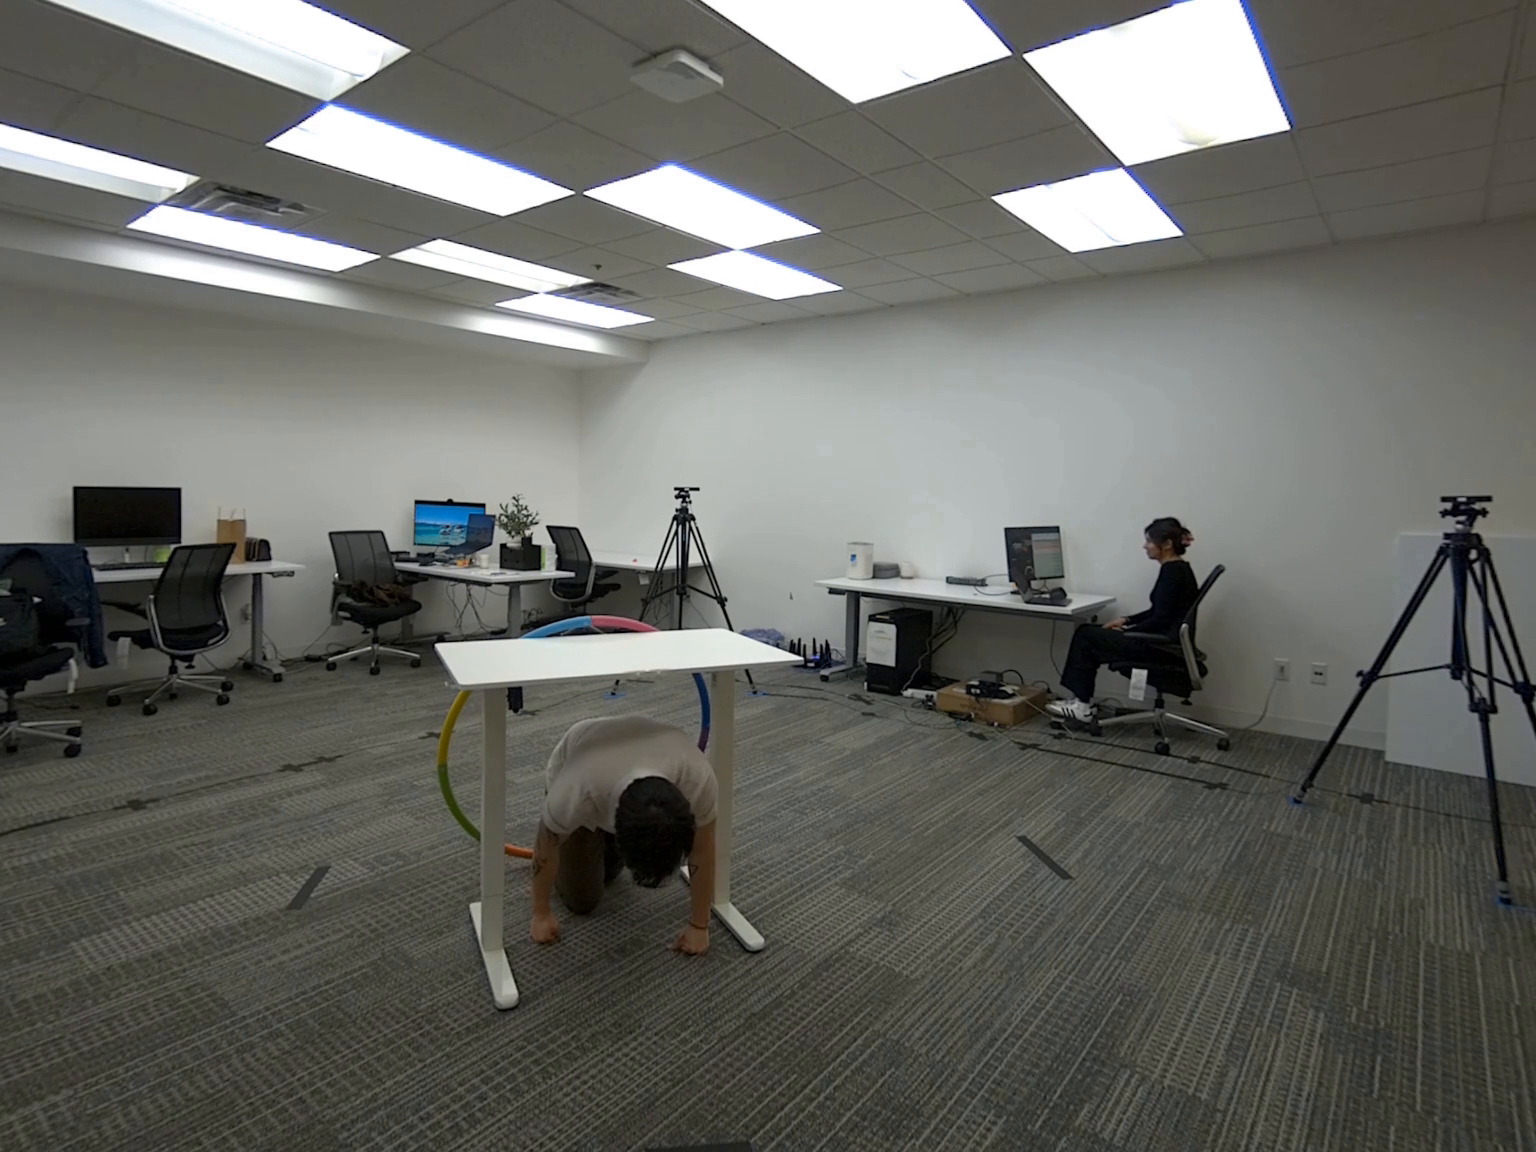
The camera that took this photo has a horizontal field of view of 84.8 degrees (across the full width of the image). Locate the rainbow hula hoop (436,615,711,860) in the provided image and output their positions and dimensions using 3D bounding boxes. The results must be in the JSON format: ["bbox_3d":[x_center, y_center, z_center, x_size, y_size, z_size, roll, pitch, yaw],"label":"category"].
[{"bbox_3d":[-0.682,0.597,3.041,0.956,0.965,0.037,-1,20,-24],"label":"rainbow hula hoop"}]
